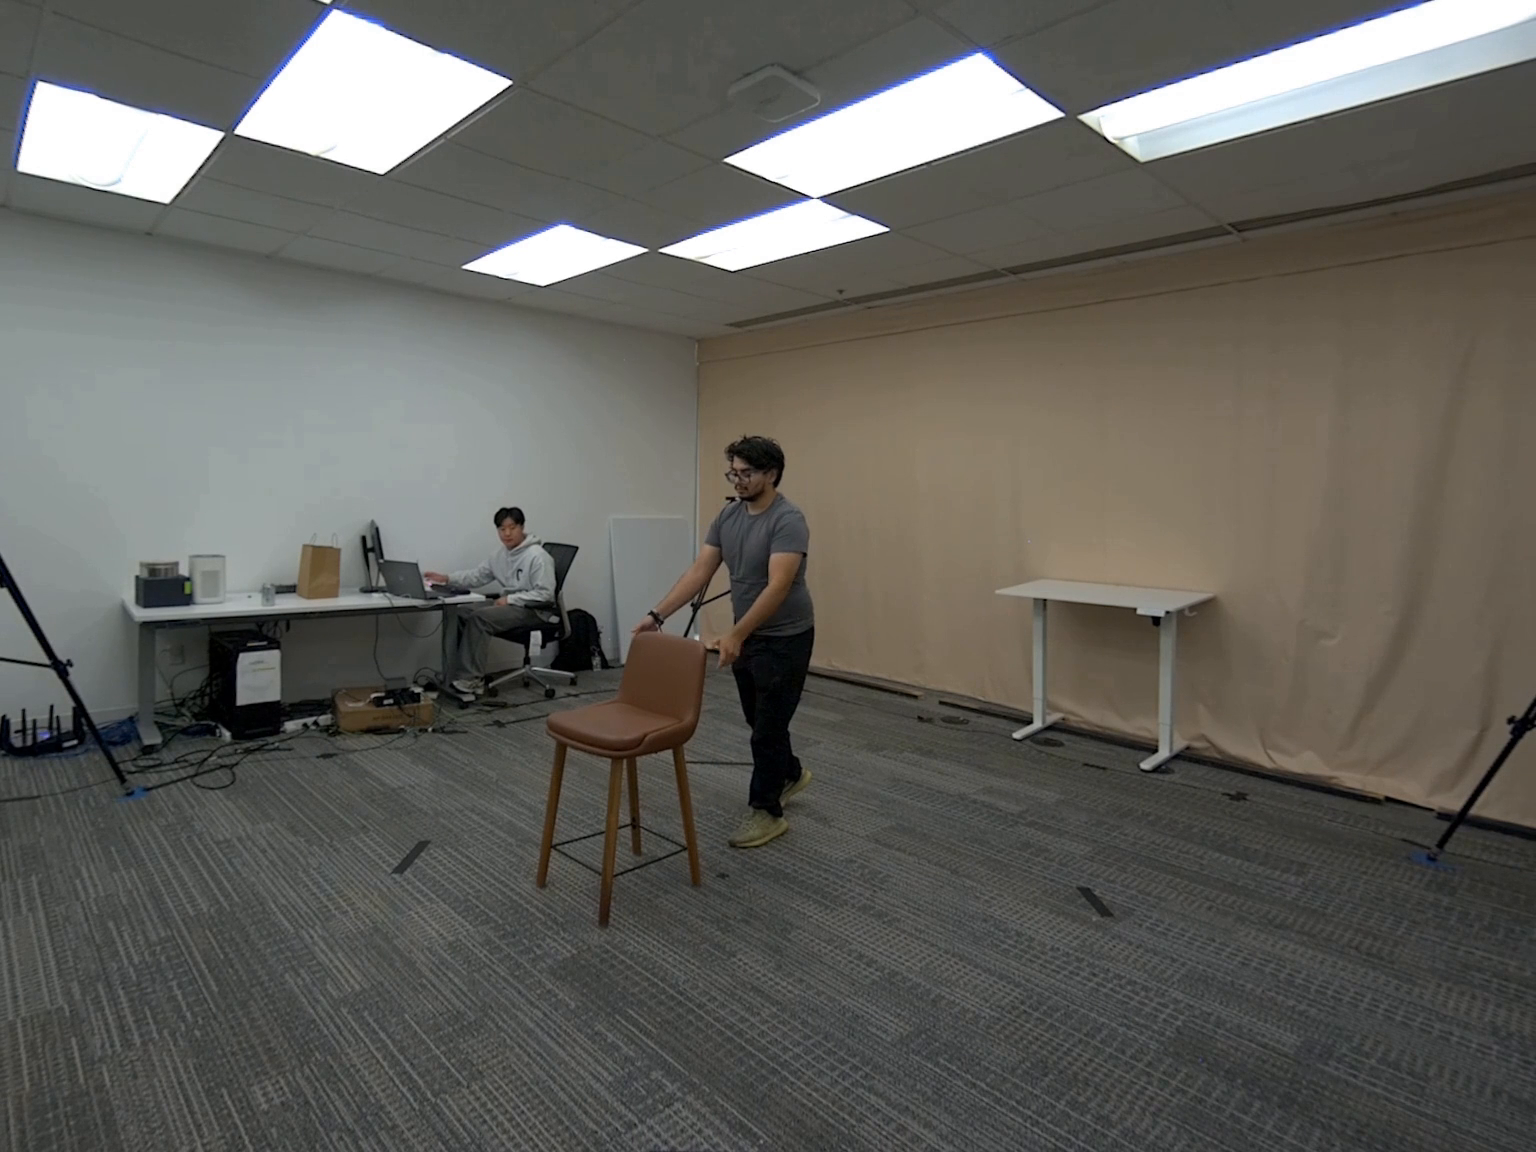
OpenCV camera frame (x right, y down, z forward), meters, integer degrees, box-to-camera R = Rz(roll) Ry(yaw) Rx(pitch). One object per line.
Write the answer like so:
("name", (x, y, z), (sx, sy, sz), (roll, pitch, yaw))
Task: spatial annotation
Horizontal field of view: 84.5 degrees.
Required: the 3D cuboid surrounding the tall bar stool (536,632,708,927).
("tall bar stool", (-0.512, 0.671, 2.986), (0.456, 0.889, 0.468), (1, 2, -45))
